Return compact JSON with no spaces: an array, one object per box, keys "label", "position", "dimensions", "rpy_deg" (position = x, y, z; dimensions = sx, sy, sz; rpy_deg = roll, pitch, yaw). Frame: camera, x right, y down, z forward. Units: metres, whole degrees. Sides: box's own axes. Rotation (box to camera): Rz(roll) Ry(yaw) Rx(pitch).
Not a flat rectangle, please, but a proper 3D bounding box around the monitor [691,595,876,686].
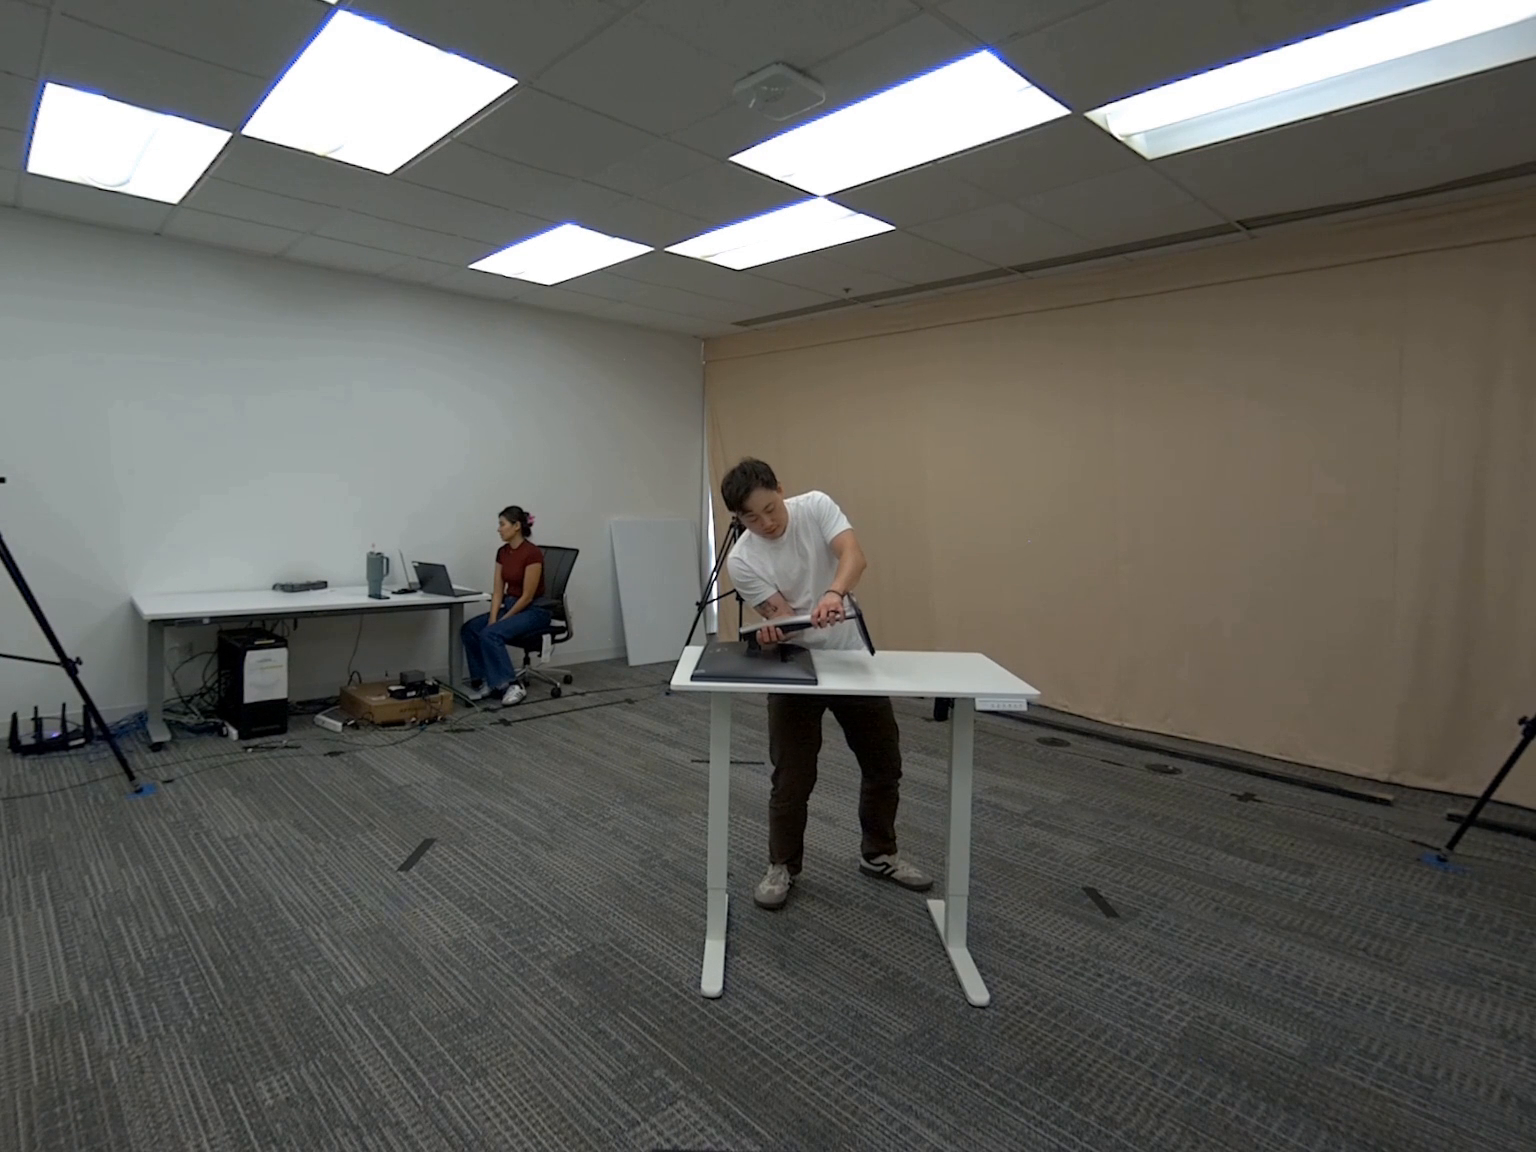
[{"label":"monitor","position":[0.034,0.210,2.564],"dimensions":[0.523,0.186,0.539],"rpy_deg":[-15,4,2]}]
